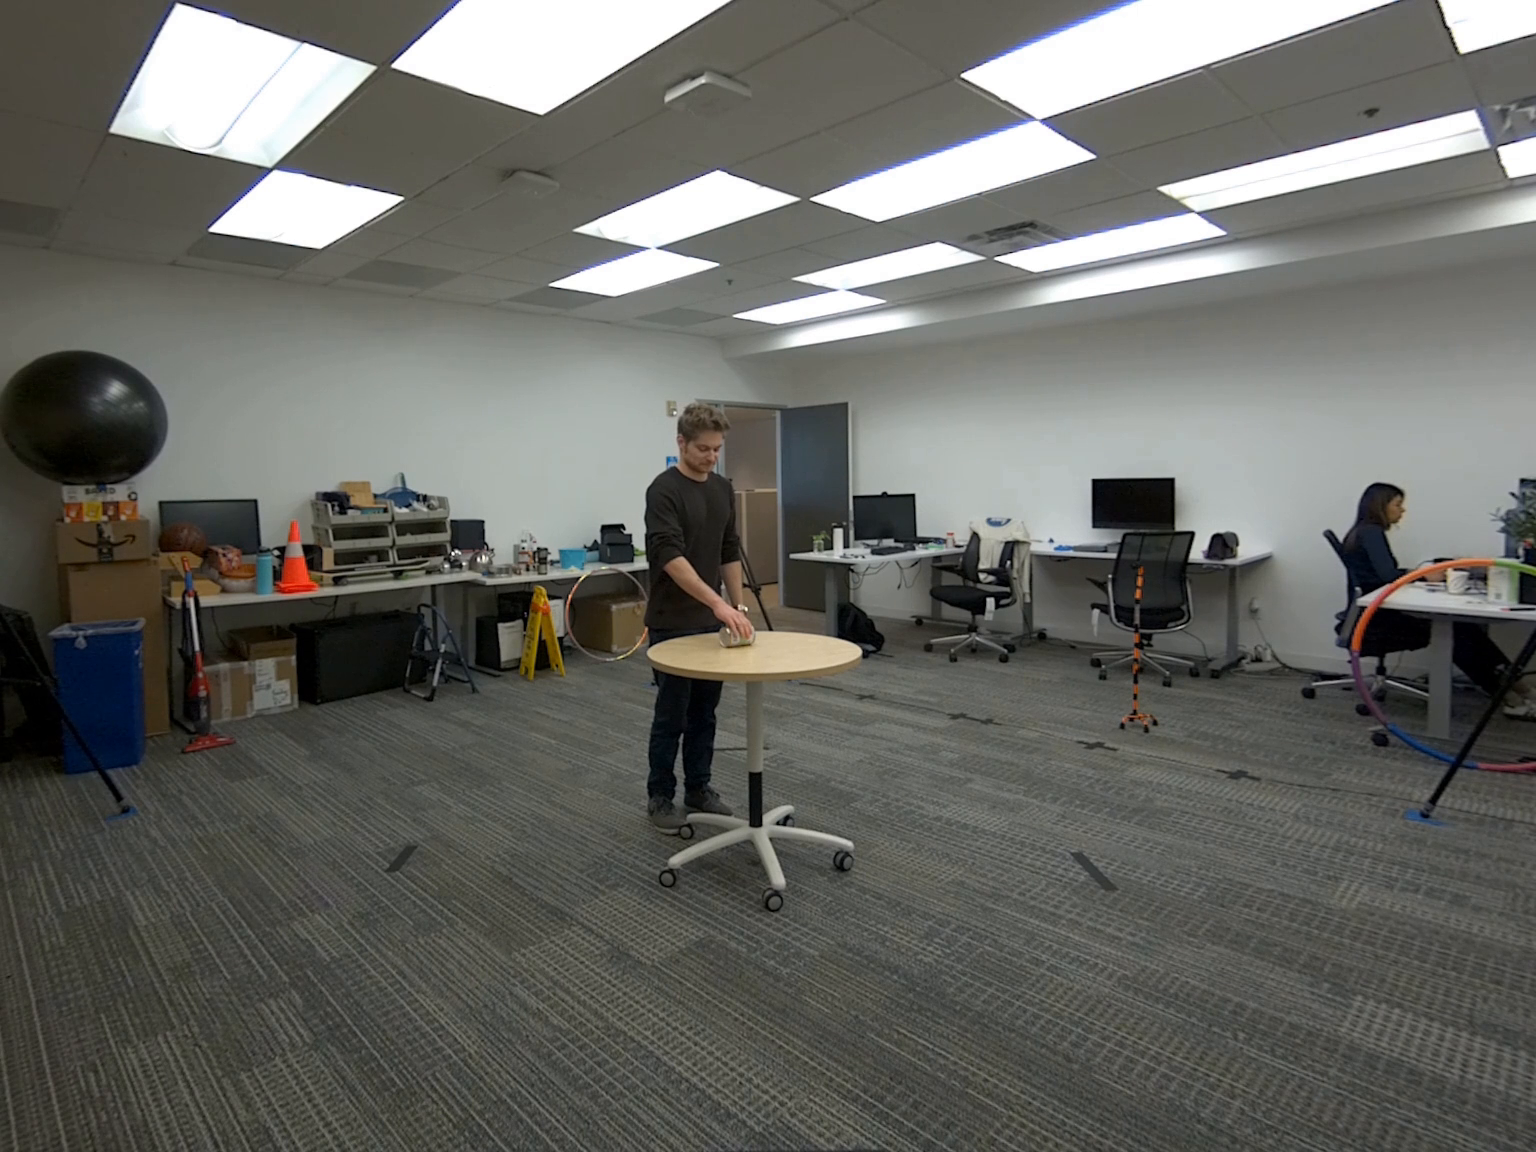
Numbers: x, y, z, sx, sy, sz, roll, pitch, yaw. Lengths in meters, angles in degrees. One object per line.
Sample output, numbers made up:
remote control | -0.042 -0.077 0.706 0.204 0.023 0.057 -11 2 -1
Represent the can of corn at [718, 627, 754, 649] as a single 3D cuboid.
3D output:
can of corn | -0.115 0.222 3.136 0.109 0.074 0.076 -5 6 -21
